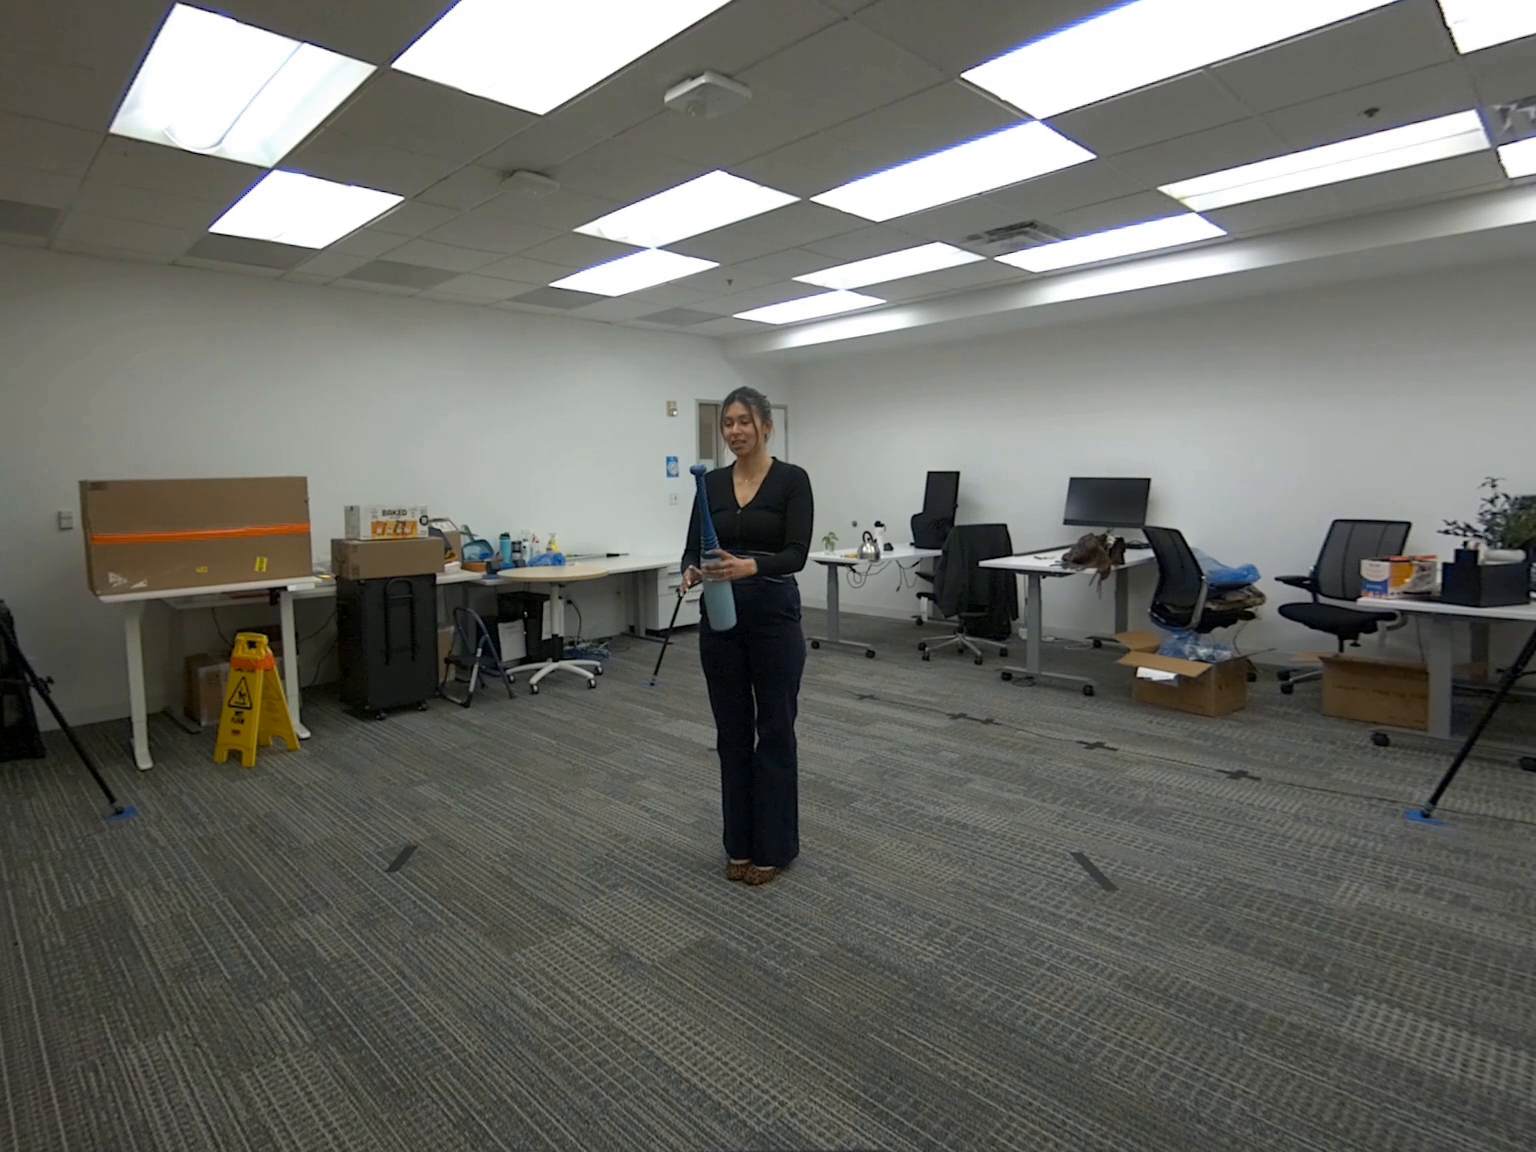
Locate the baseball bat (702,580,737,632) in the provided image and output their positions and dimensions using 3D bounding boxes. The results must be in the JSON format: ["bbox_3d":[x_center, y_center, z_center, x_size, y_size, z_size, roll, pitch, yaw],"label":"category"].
[{"bbox_3d":[-0.169,-0.074,2.621,0.089,0.531,0.091,-6,23,1],"label":"baseball bat"}]
